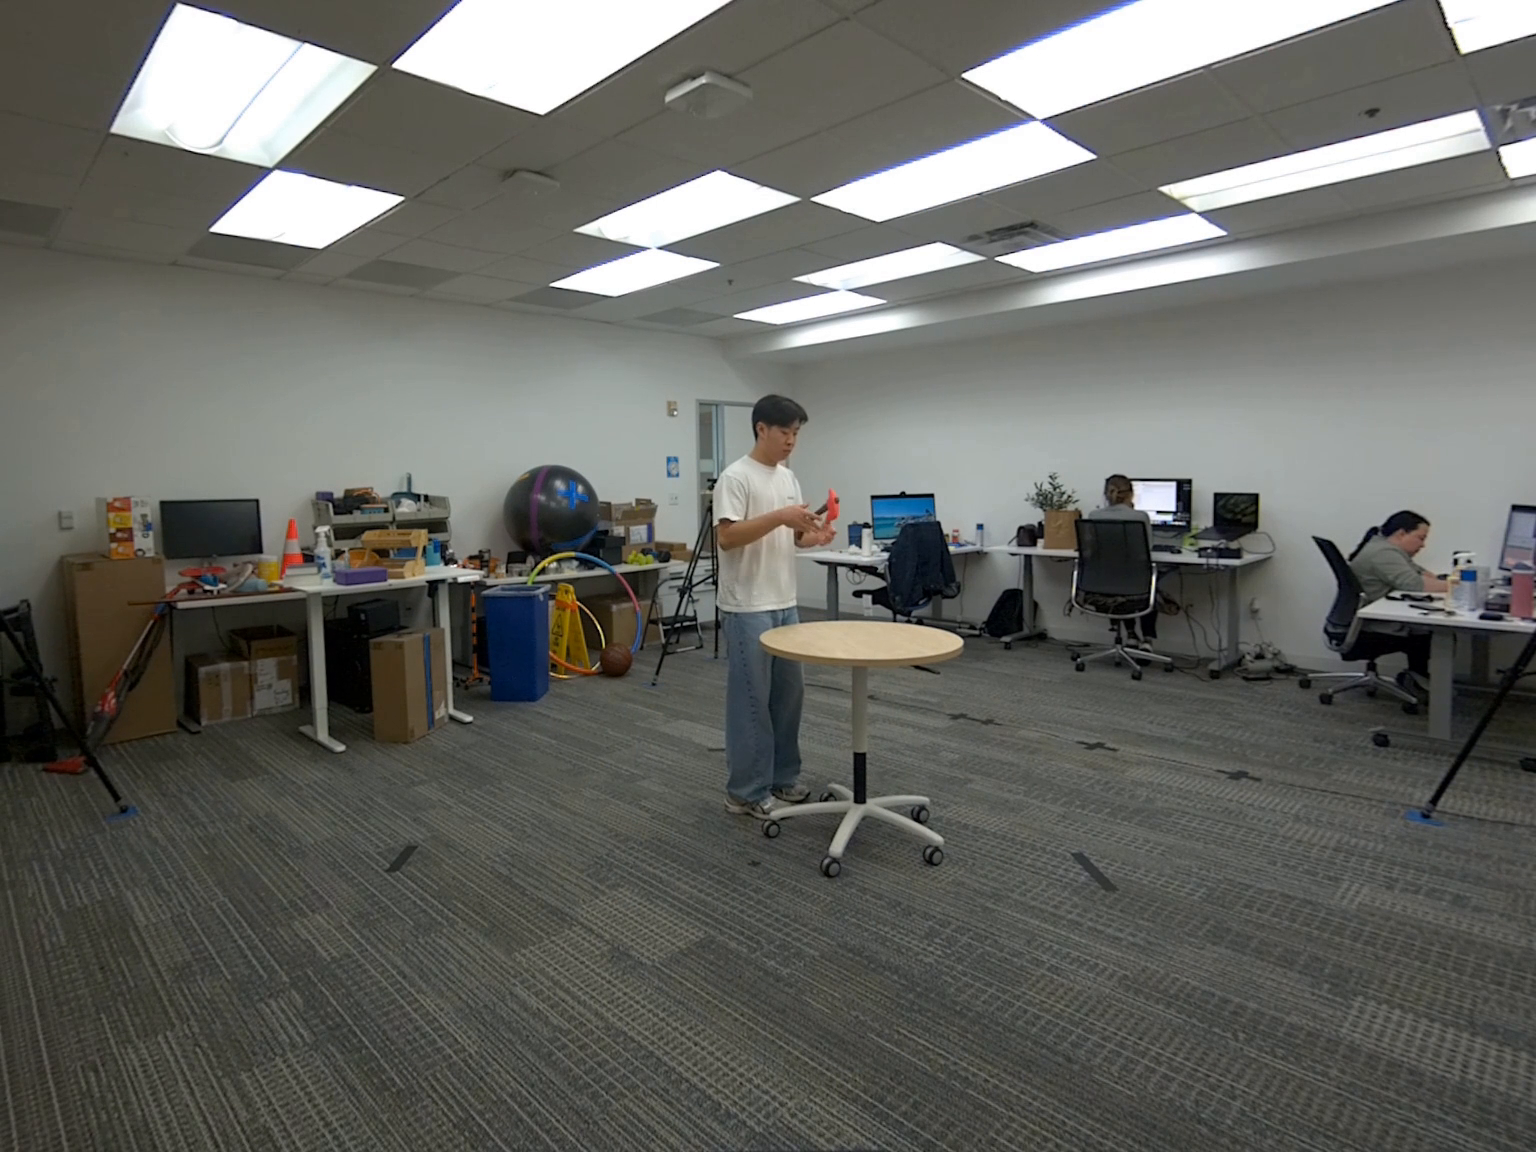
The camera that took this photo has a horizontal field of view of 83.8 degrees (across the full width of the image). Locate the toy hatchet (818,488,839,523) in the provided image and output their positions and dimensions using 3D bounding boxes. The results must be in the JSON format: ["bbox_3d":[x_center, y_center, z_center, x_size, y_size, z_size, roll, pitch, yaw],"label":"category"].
[{"bbox_3d":[0.200,-0.181,3.373,0.029,0.268,0.136,8,42,-33],"label":"toy hatchet"}]
